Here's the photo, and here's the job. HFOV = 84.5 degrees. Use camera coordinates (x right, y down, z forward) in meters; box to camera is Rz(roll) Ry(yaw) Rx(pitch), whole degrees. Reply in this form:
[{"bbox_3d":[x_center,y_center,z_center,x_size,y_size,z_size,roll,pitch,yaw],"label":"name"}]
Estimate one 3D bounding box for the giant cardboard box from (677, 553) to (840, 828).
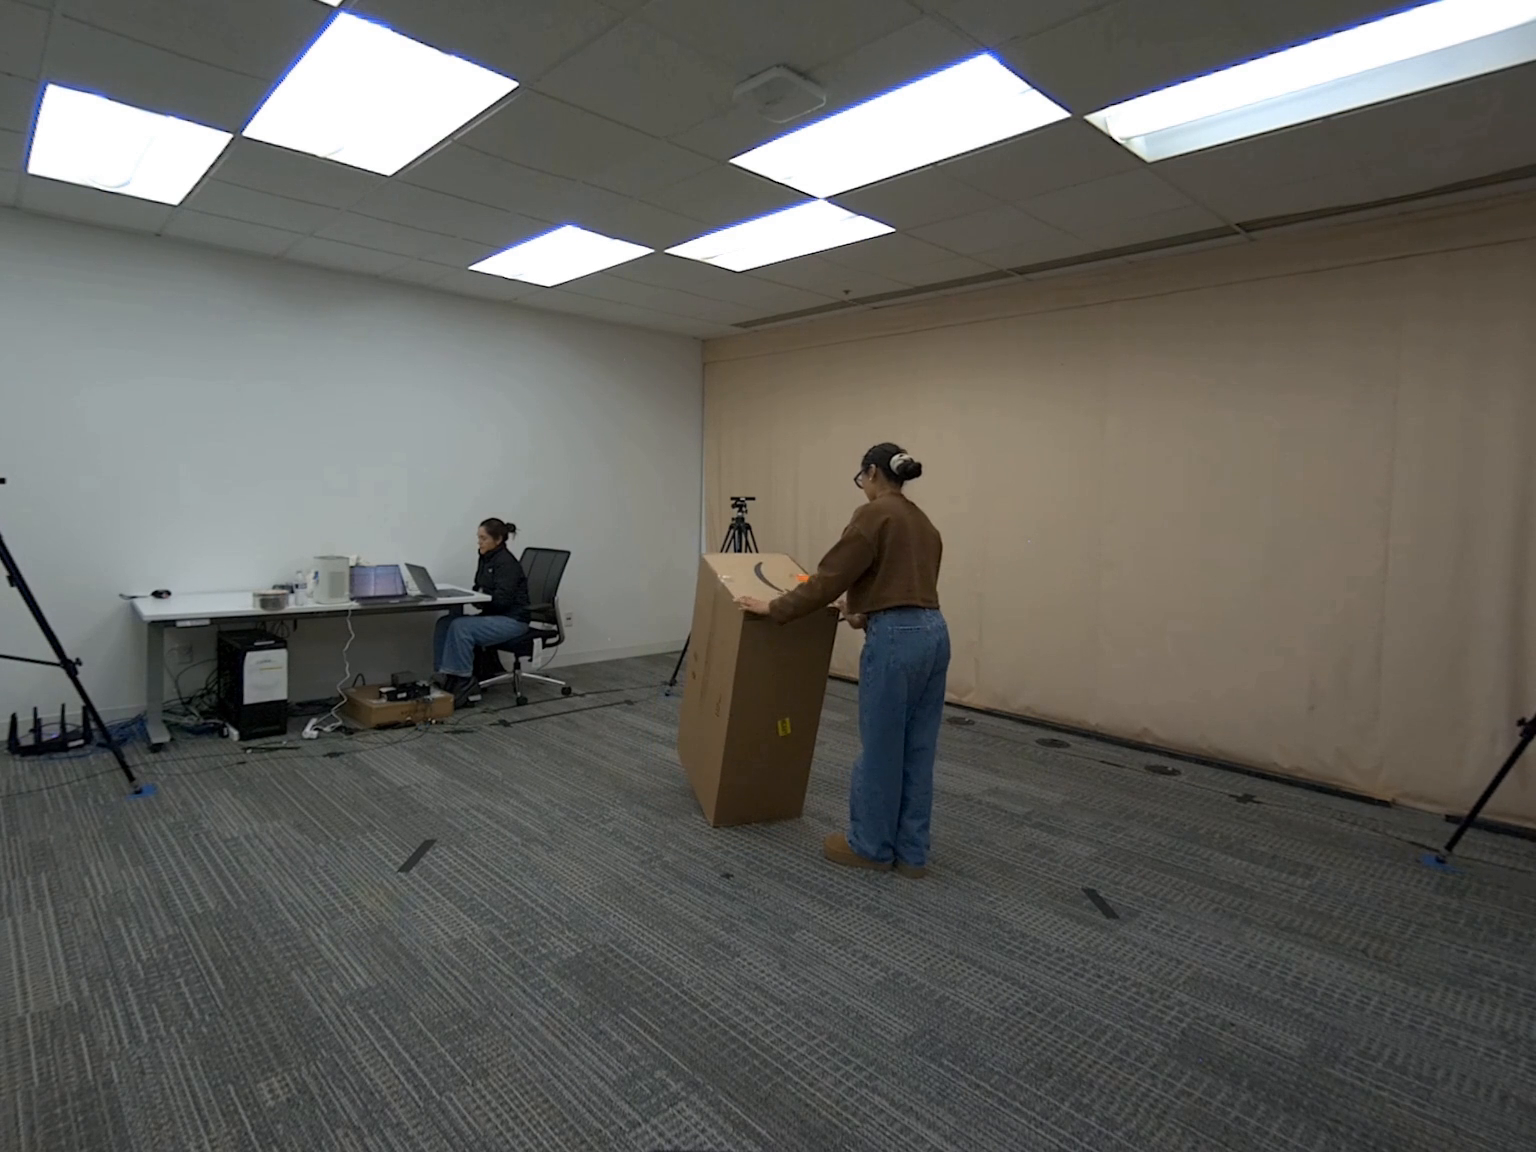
[{"bbox_3d":[-0.084,0.484,3.718,0.439,1.015,0.601,-1,22,-23],"label":"giant cardboard box"}]
